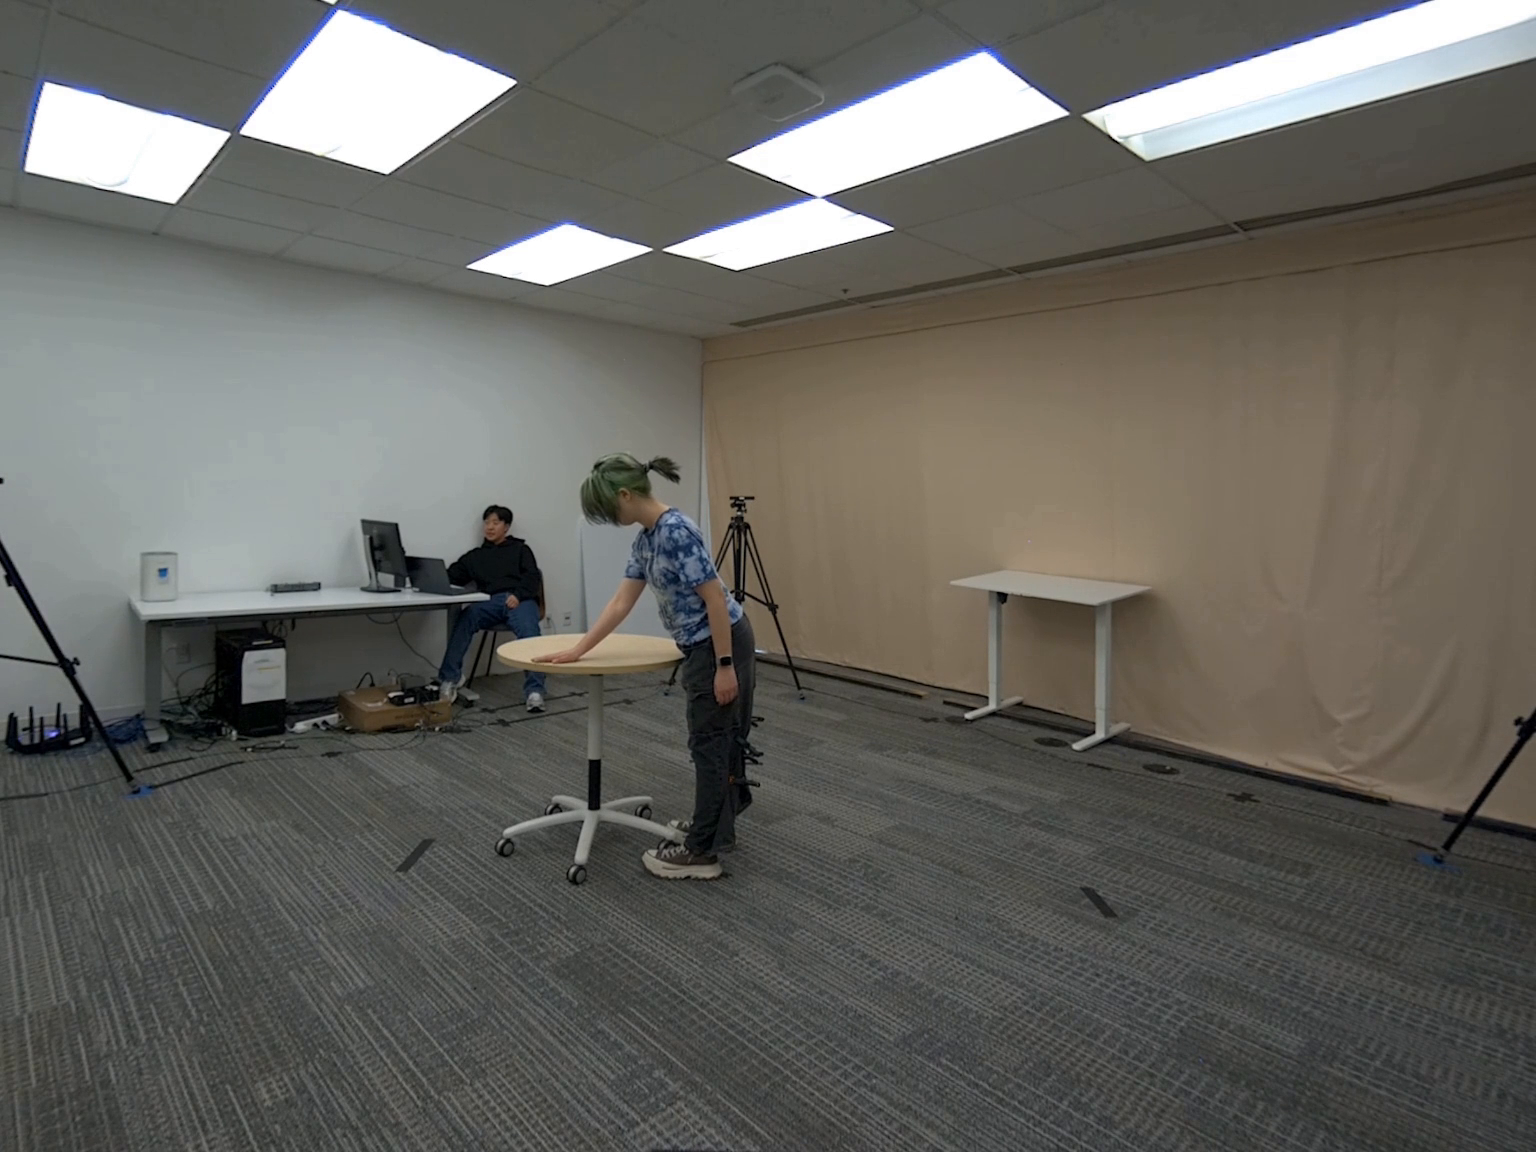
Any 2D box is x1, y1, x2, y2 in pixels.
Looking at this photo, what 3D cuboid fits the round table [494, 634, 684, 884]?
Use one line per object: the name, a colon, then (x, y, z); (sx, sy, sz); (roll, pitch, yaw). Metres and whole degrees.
round table: (-0.681, 0.674, 3.350); (0.784, 0.784, 0.788); (1, 4, -1)
